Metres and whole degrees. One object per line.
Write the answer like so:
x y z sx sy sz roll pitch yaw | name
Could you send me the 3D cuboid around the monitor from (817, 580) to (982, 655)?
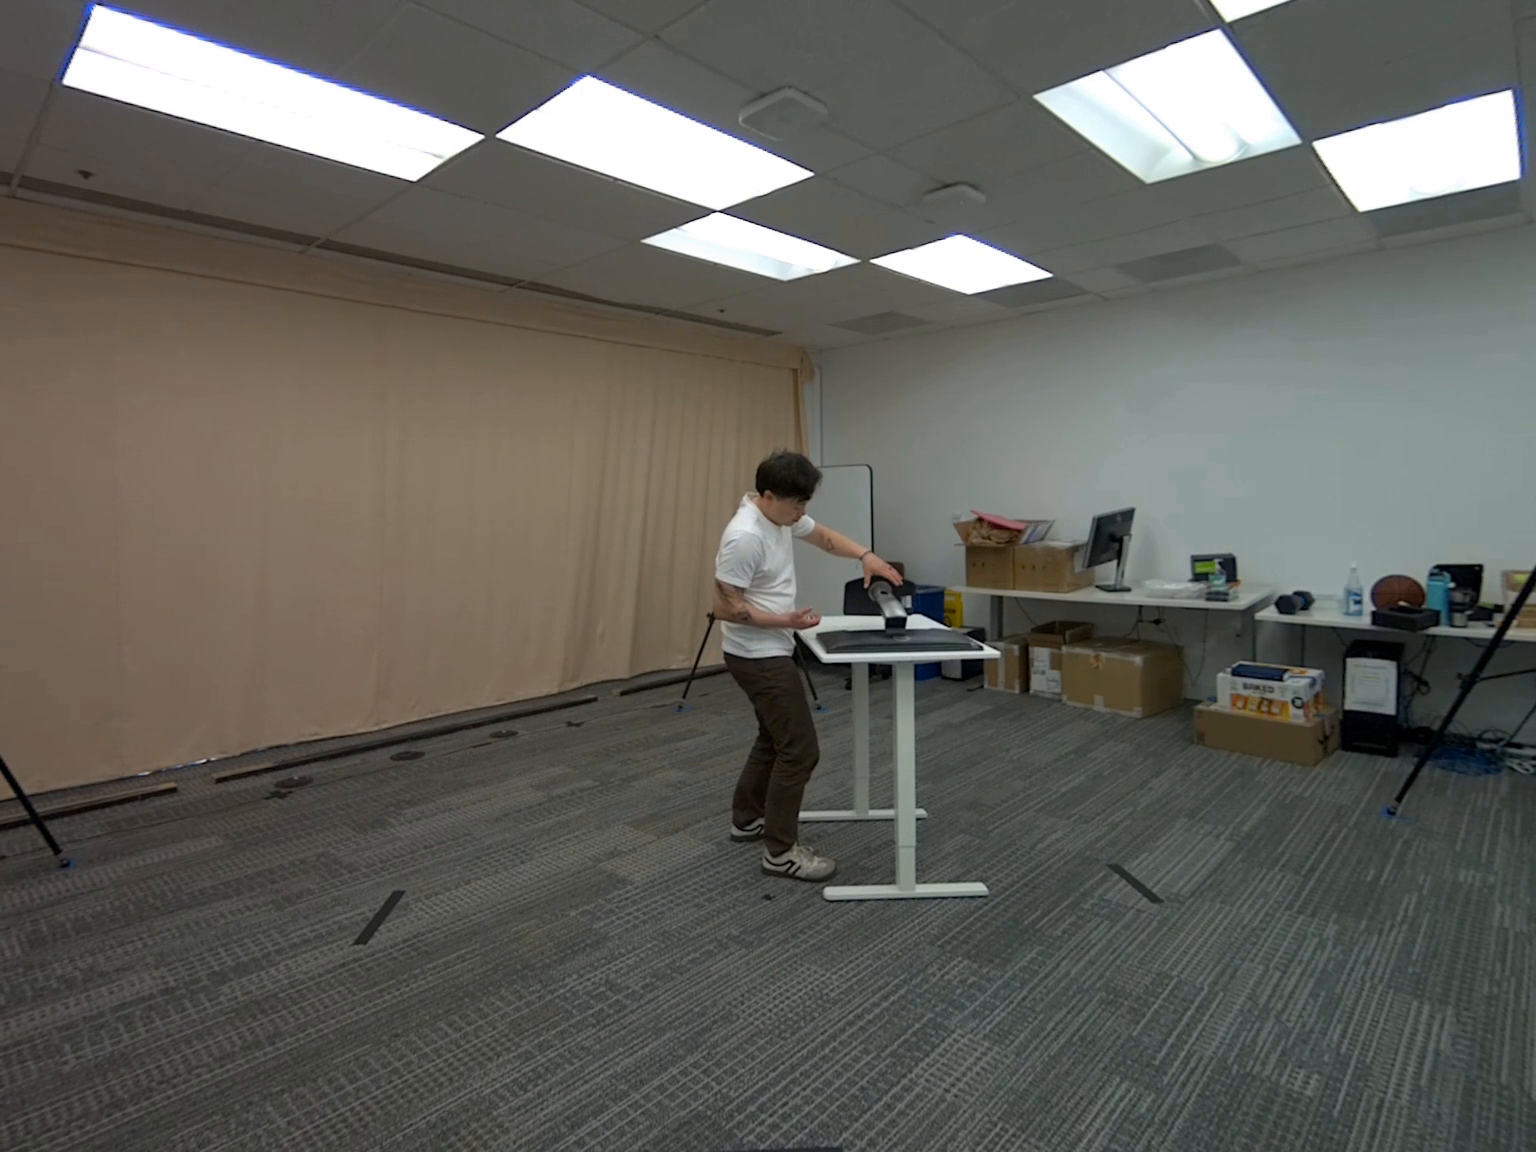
0.460 0.178 3.103 0.539 0.184 0.530 -2 23 -1 | monitor
